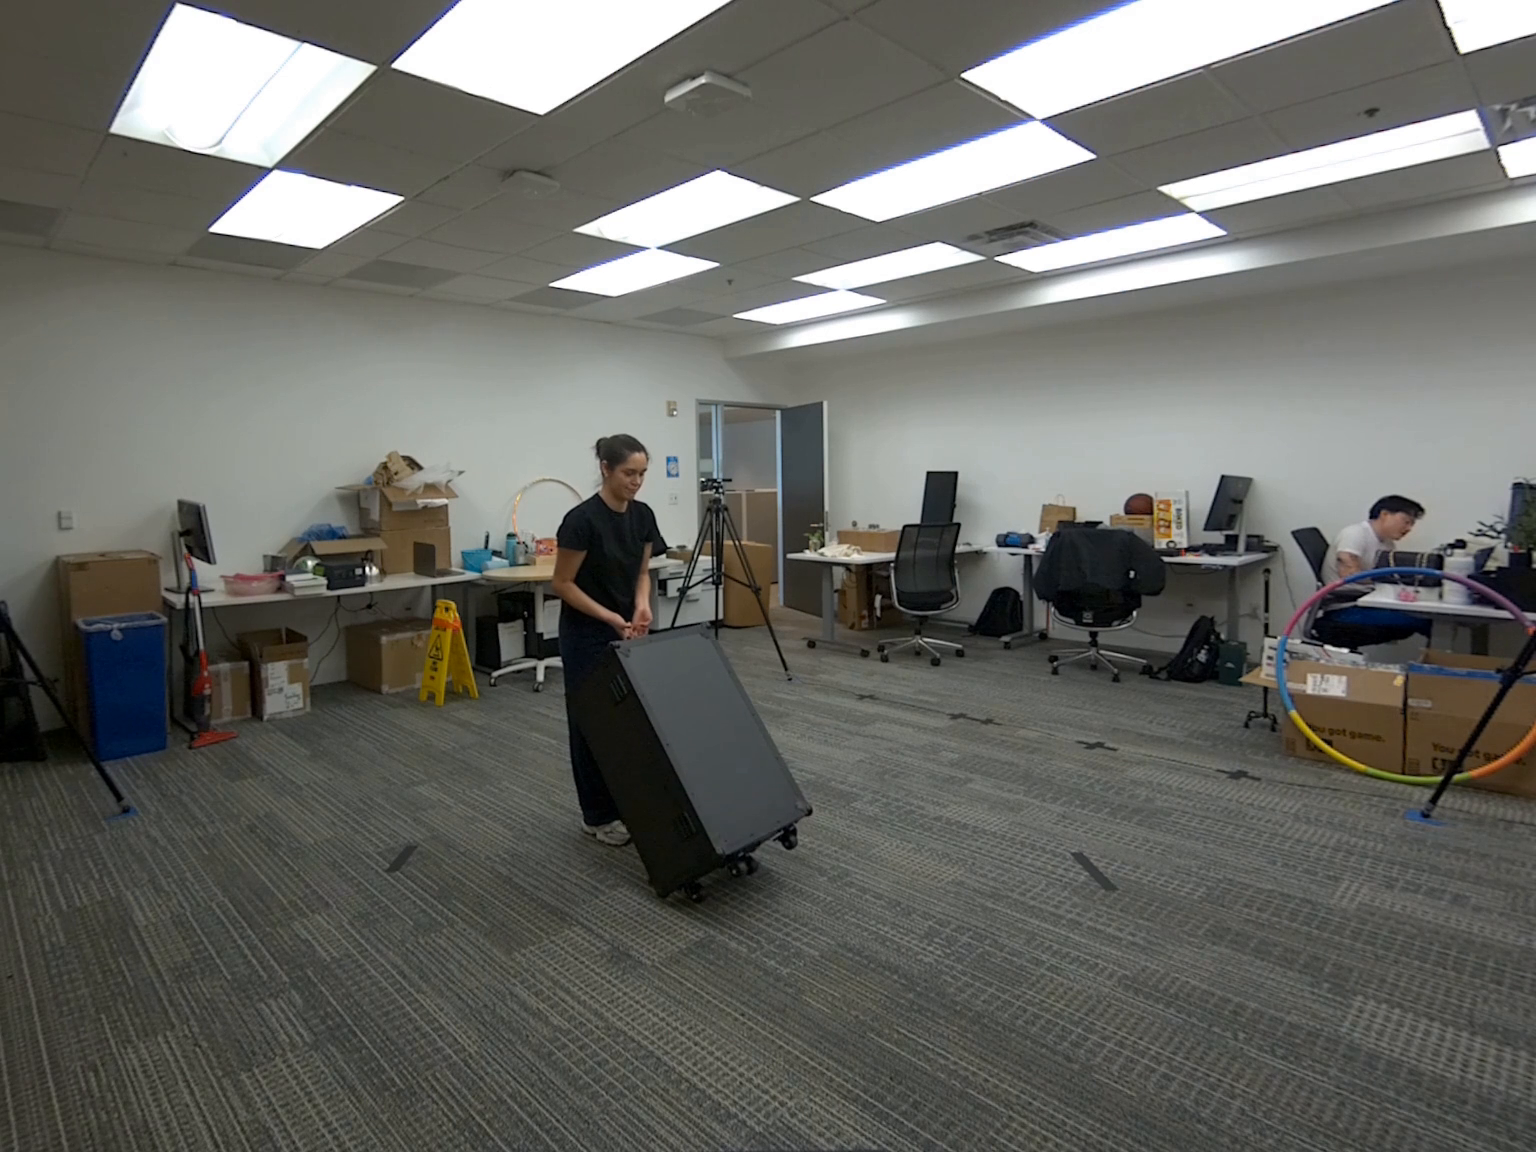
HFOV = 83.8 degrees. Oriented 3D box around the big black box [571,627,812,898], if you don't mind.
[{"bbox_3d":[-0.282,0.655,3.024,0.508,0.884,0.396,-6,-32,-49],"label":"big black box"}]
